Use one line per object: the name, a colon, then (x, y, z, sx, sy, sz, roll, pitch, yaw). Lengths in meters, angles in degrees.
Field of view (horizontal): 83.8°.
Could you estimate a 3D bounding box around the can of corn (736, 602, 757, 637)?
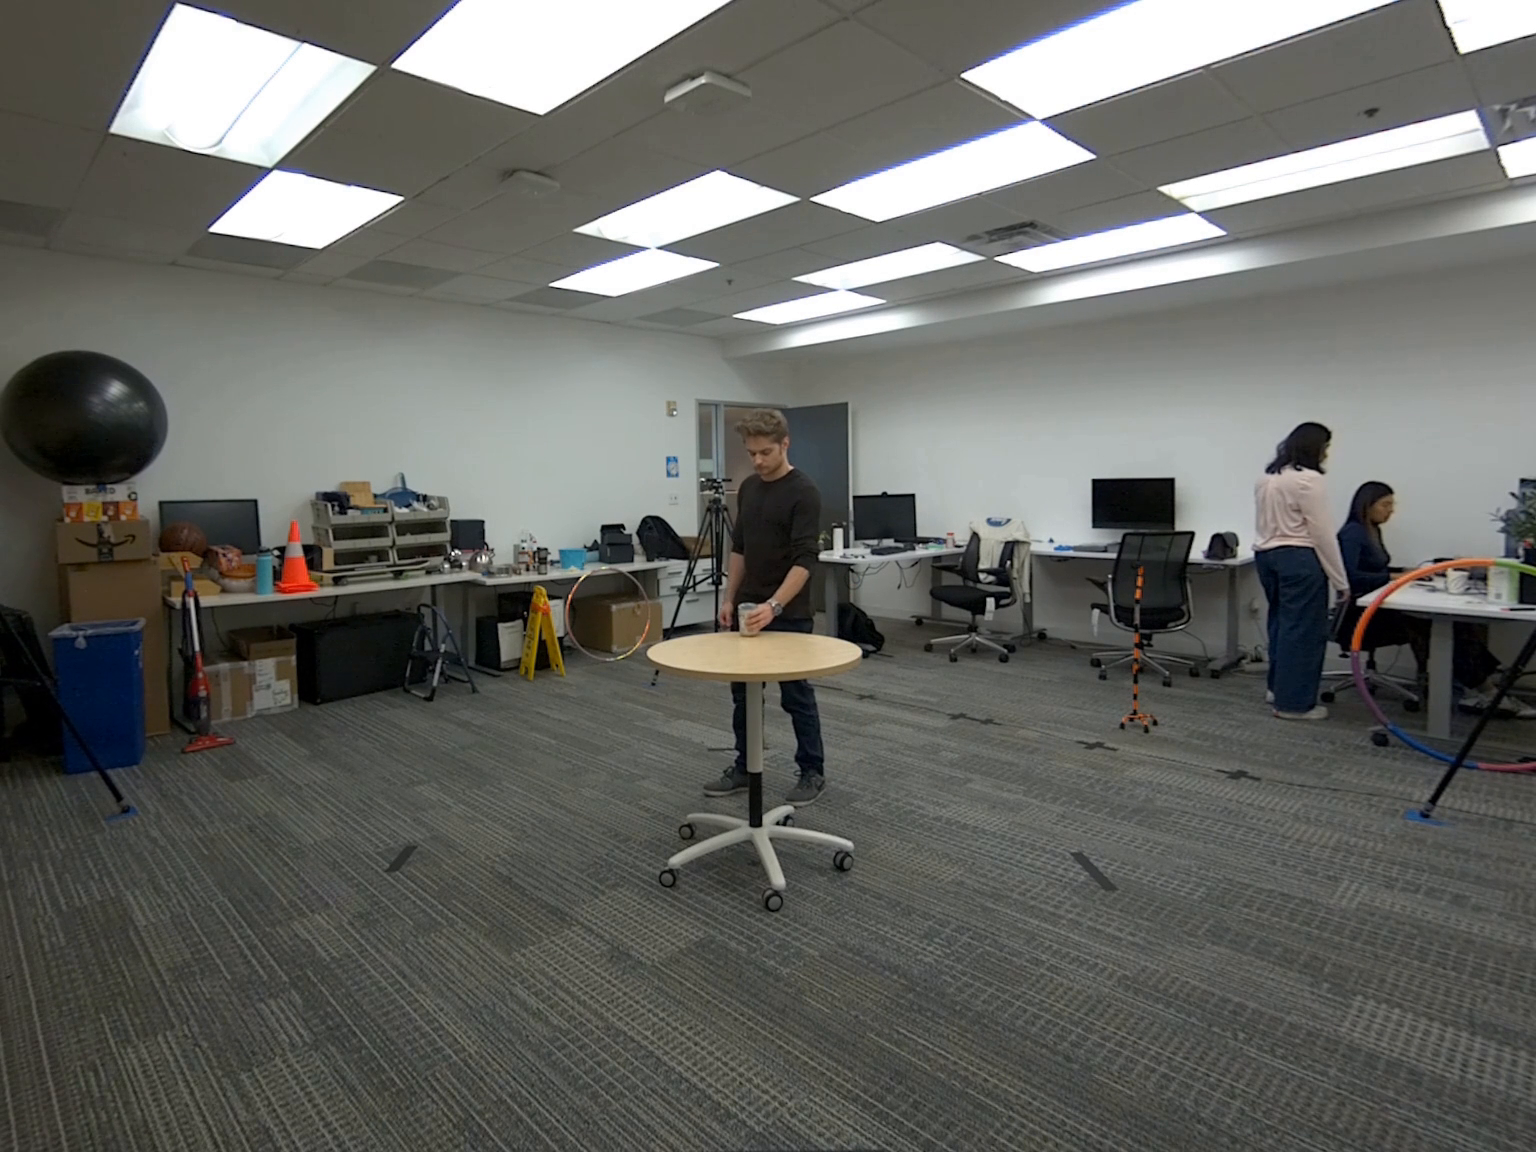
can of corn: (-0.075, 0.172, 3.344, 0.074, 0.110, 0.075, -2, 12, -1)
